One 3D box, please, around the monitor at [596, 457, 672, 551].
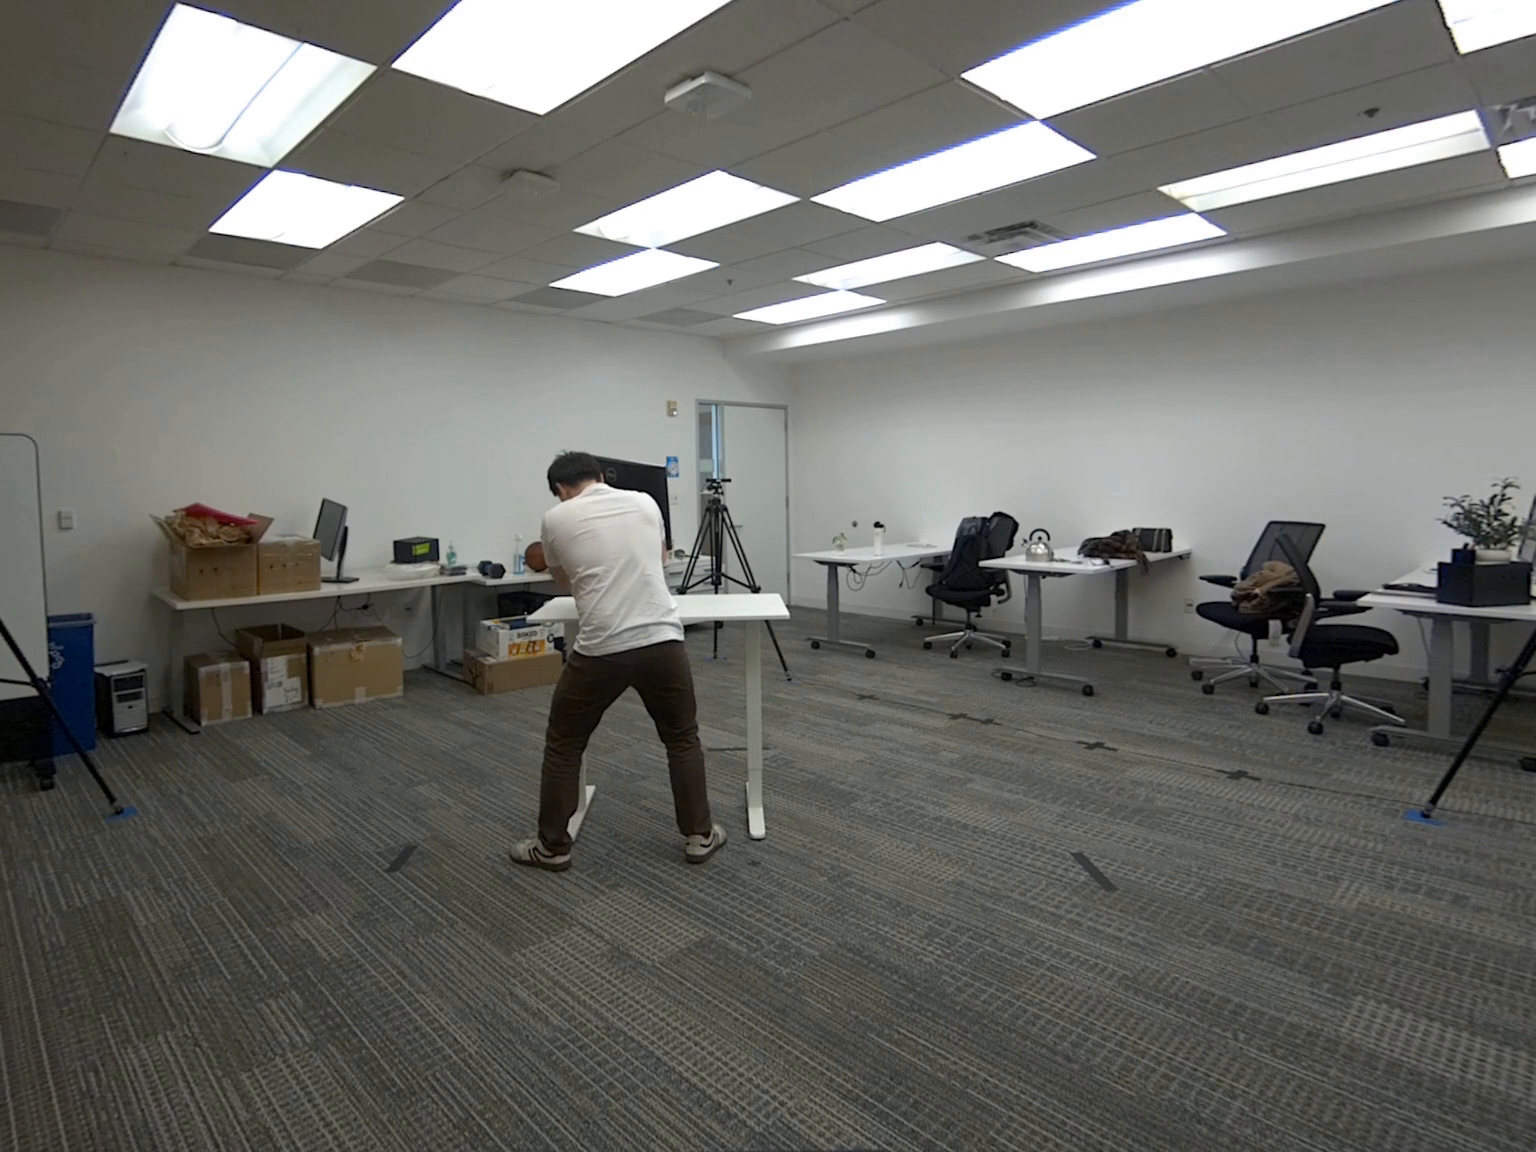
[{"bbox_3d":[-0.654,-0.225,3.548,0.556,0.519,0.182,12,10,31],"label":"monitor"}]
